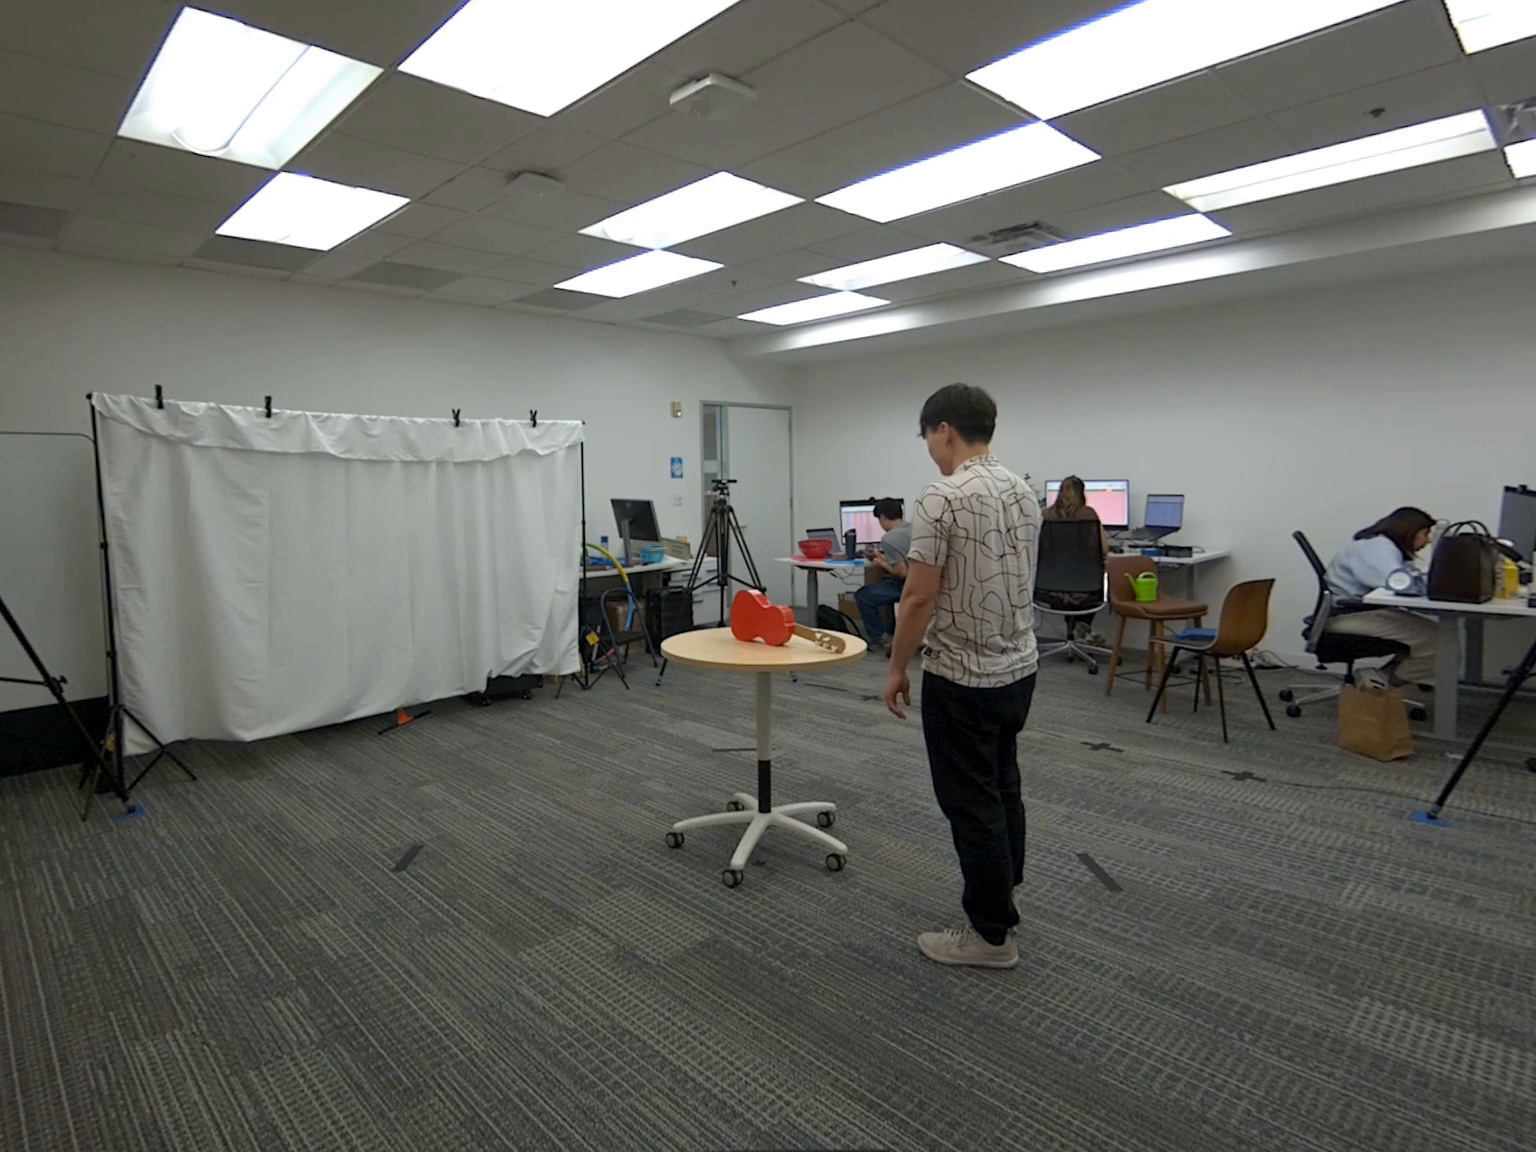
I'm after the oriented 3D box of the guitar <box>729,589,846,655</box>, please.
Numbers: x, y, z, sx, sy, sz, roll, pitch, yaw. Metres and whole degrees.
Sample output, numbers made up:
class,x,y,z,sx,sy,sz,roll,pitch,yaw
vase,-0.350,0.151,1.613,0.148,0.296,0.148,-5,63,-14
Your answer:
class,x,y,z,sx,sy,sz,roll,pitch,yaw
guitar,0.069,0.165,3.135,0.513,0.192,0.069,6,5,42
